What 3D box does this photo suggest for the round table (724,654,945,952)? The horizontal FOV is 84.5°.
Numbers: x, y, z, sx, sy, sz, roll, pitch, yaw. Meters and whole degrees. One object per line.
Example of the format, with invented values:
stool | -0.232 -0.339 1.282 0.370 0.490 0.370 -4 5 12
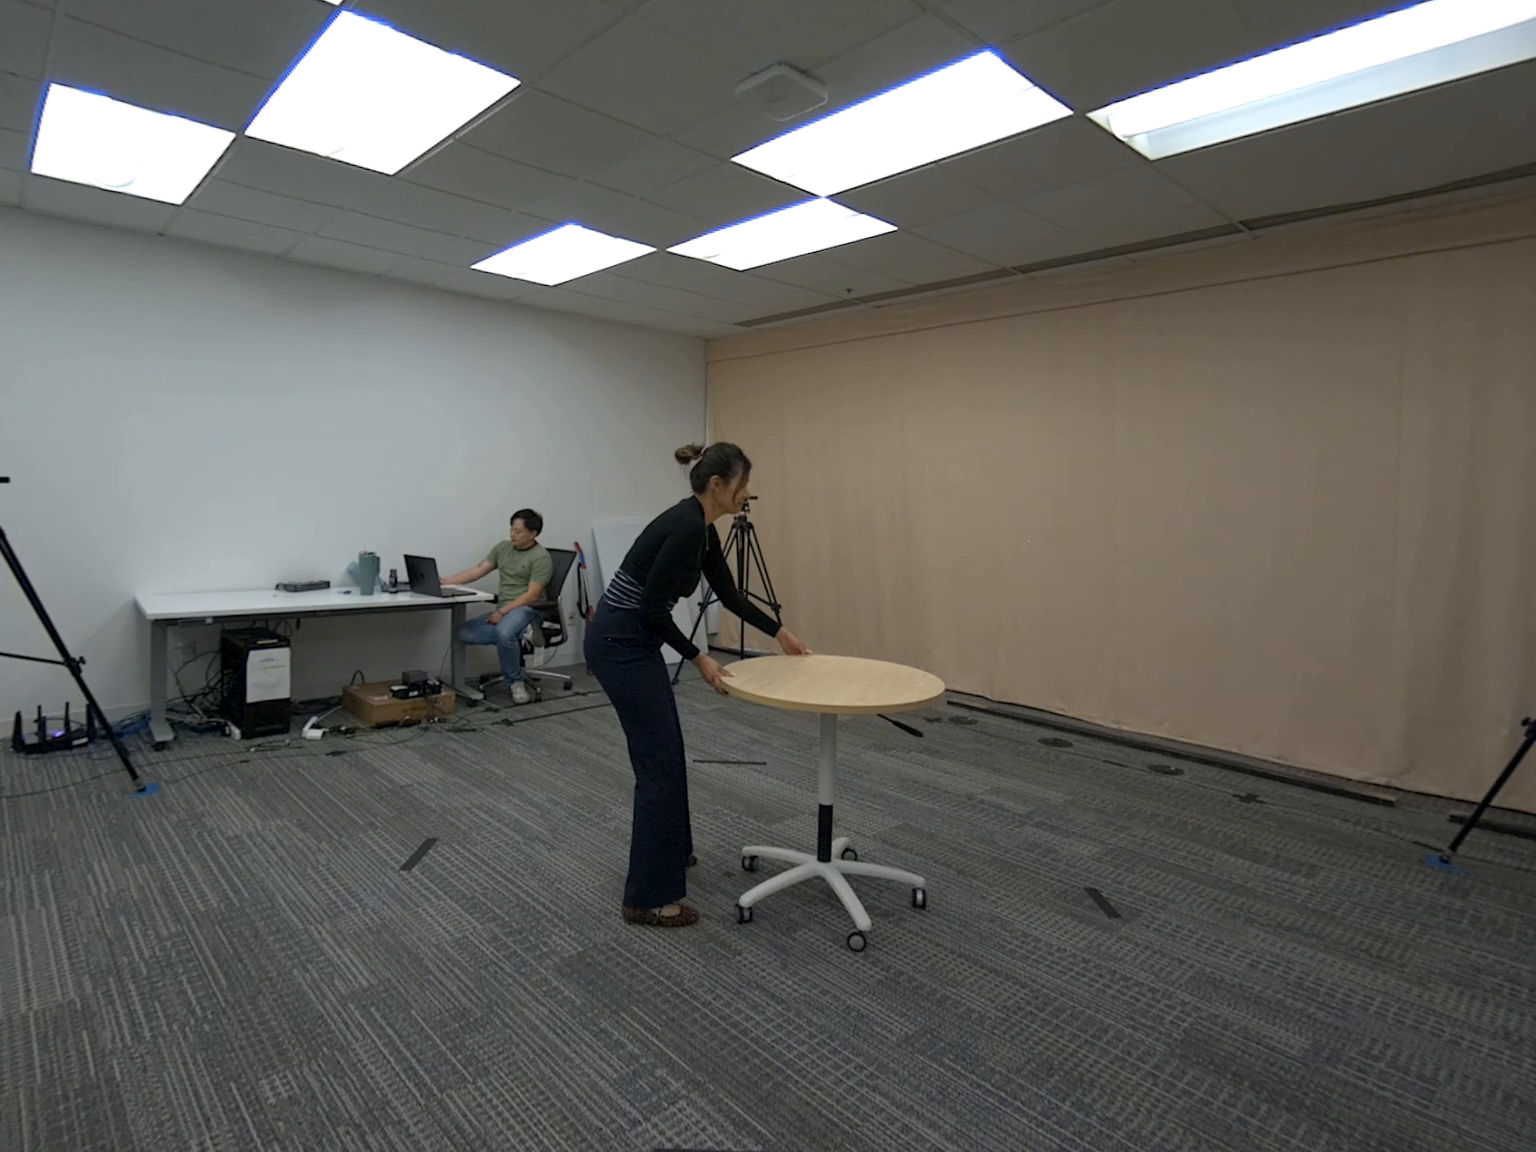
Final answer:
round table | 0.202 0.739 2.903 0.763 0.792 0.767 1 4 -1
